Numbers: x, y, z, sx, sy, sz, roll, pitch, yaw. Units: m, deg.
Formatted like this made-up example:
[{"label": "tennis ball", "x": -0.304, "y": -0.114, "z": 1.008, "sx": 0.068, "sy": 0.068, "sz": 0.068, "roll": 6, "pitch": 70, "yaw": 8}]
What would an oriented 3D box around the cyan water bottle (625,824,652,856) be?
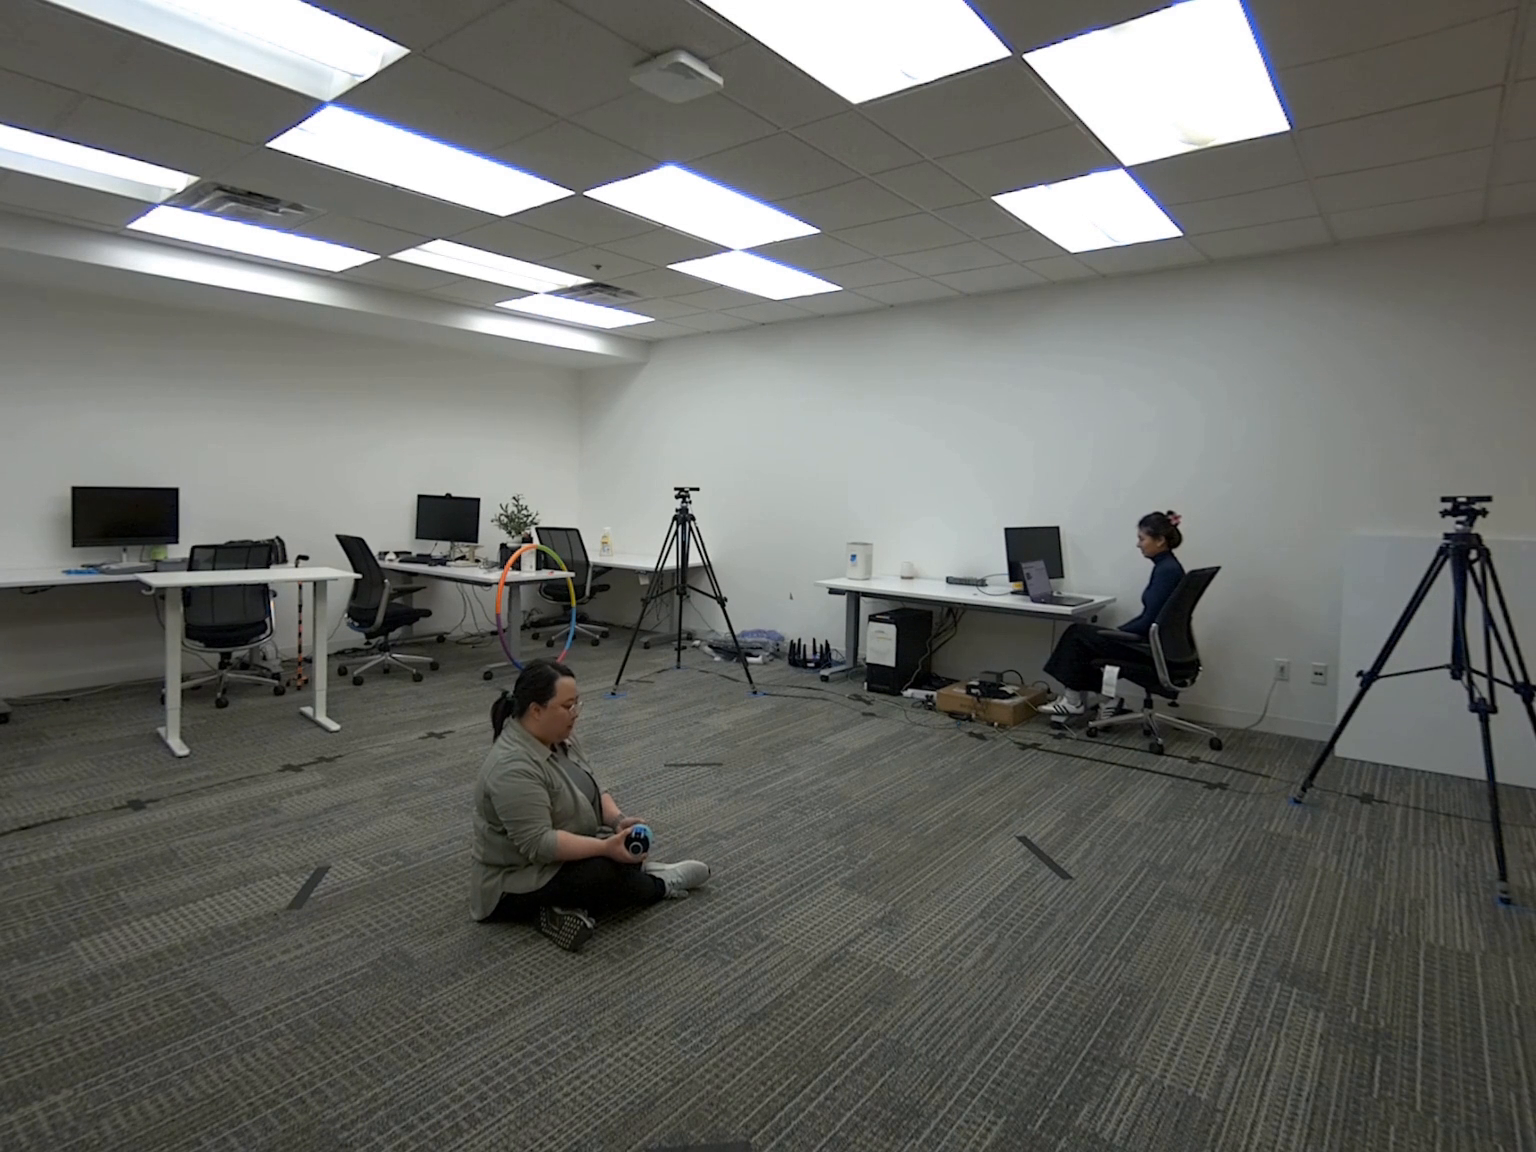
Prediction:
[{"label": "cyan water bottle", "x": -0.435, "y": 0.856, "z": 2.738, "sx": 0.092, "sy": 0.093, "sz": 0.280, "roll": 1, "pitch": -13, "yaw": -5}]
